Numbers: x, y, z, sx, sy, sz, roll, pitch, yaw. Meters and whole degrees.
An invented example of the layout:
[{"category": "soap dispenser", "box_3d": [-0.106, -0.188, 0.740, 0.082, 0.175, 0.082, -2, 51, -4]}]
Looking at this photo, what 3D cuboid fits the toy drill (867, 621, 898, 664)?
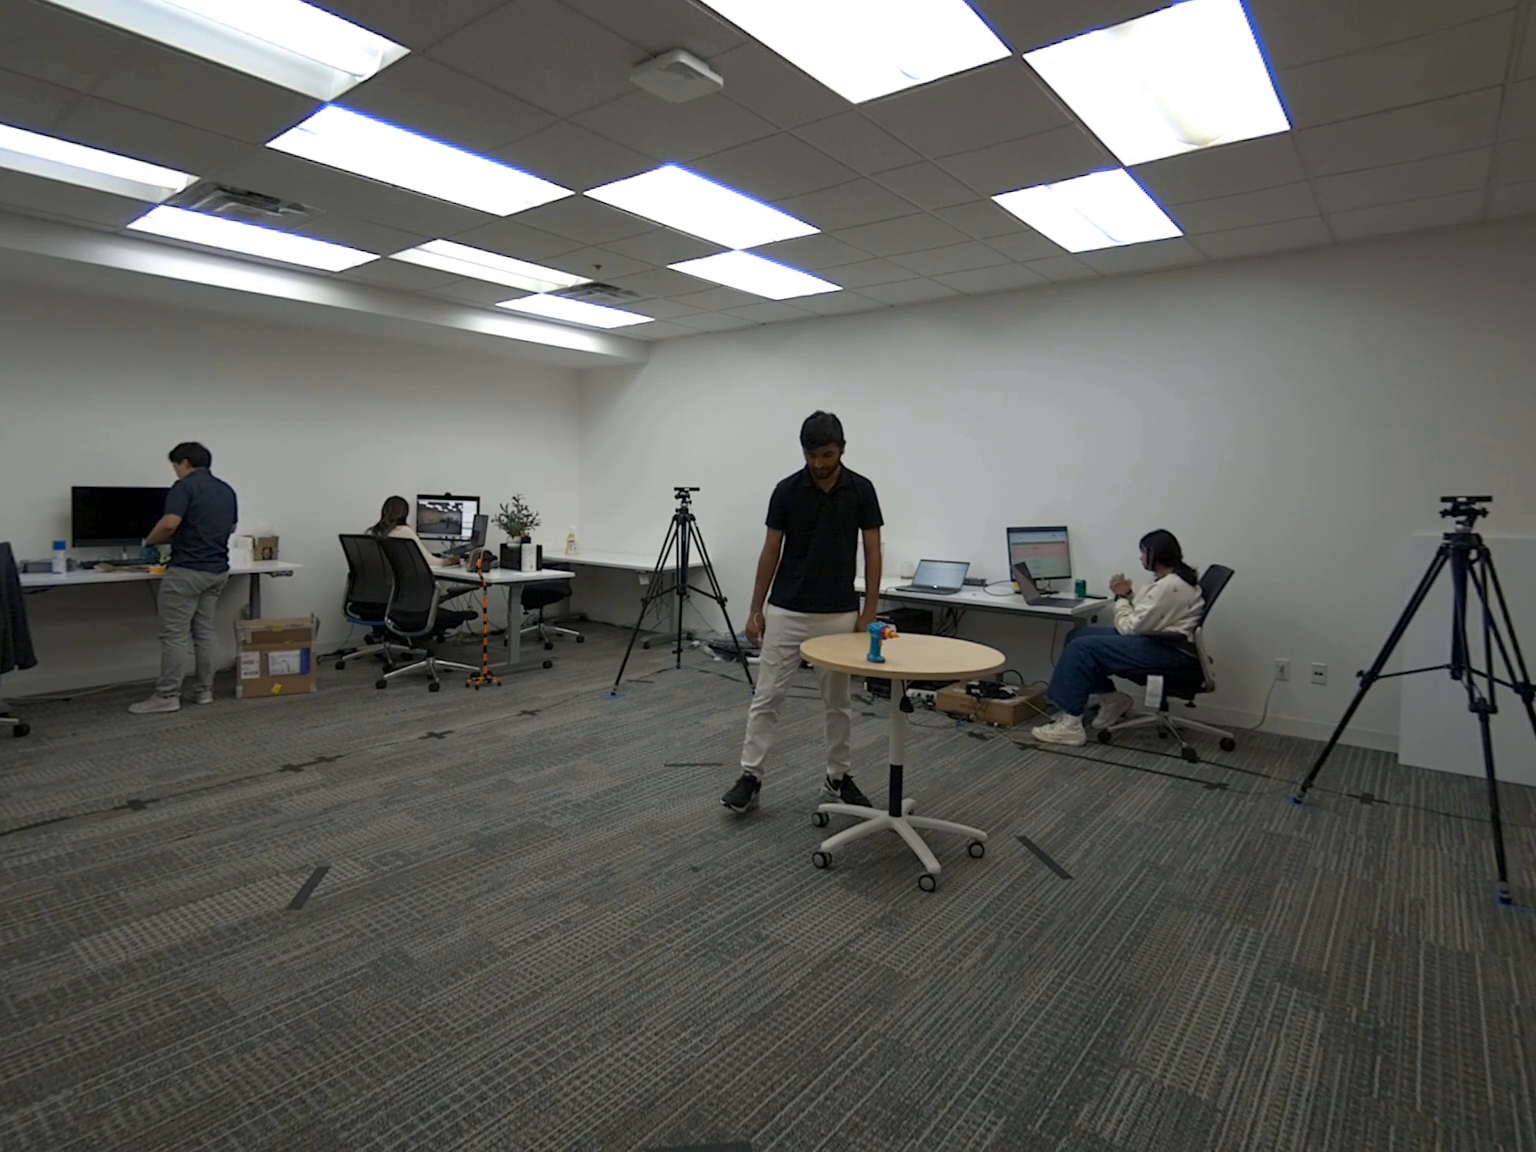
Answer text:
[{"category": "toy drill", "box_3d": [0.394, 0.231, 3.016, 0.059, 0.145, 0.175, -1, 5, -28]}]
